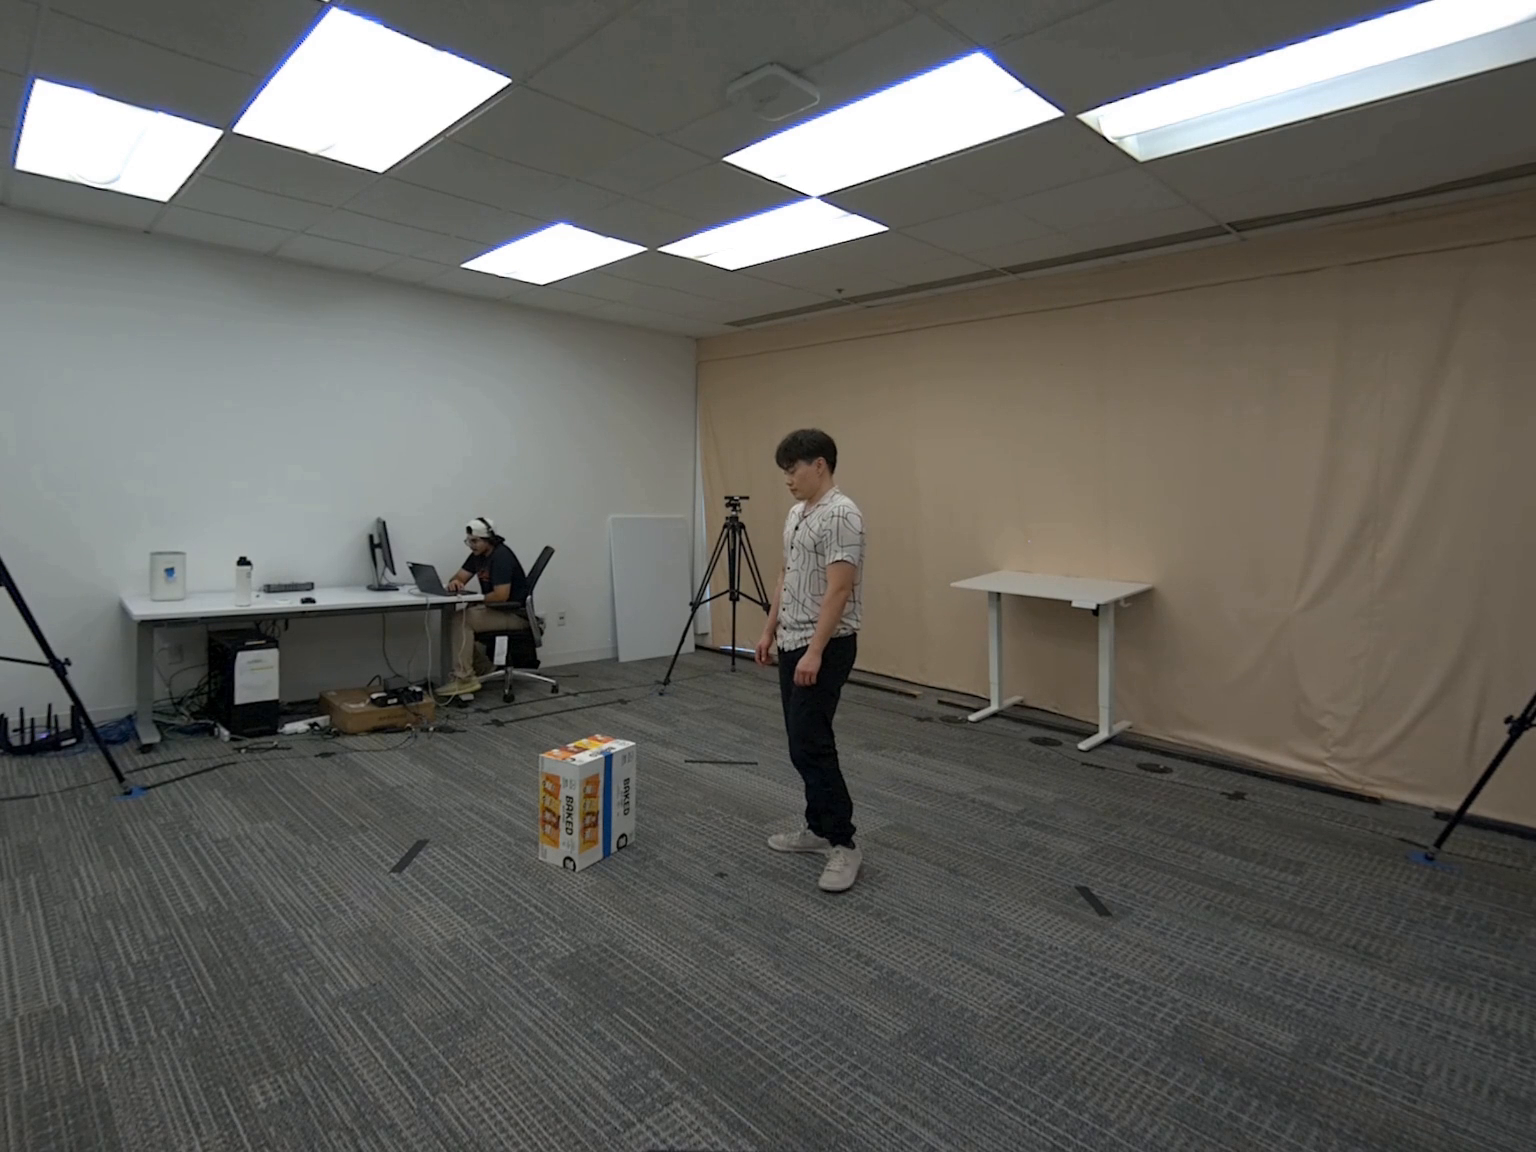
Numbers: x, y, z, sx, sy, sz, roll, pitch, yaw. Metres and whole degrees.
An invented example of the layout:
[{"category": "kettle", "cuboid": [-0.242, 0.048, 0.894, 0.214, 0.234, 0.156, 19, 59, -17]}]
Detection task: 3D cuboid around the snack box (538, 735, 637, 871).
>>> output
[{"category": "snack box", "cuboid": [-0.706, 0.871, 3.277, 0.210, 0.404, 0.334, 3, 4, 30]}]
